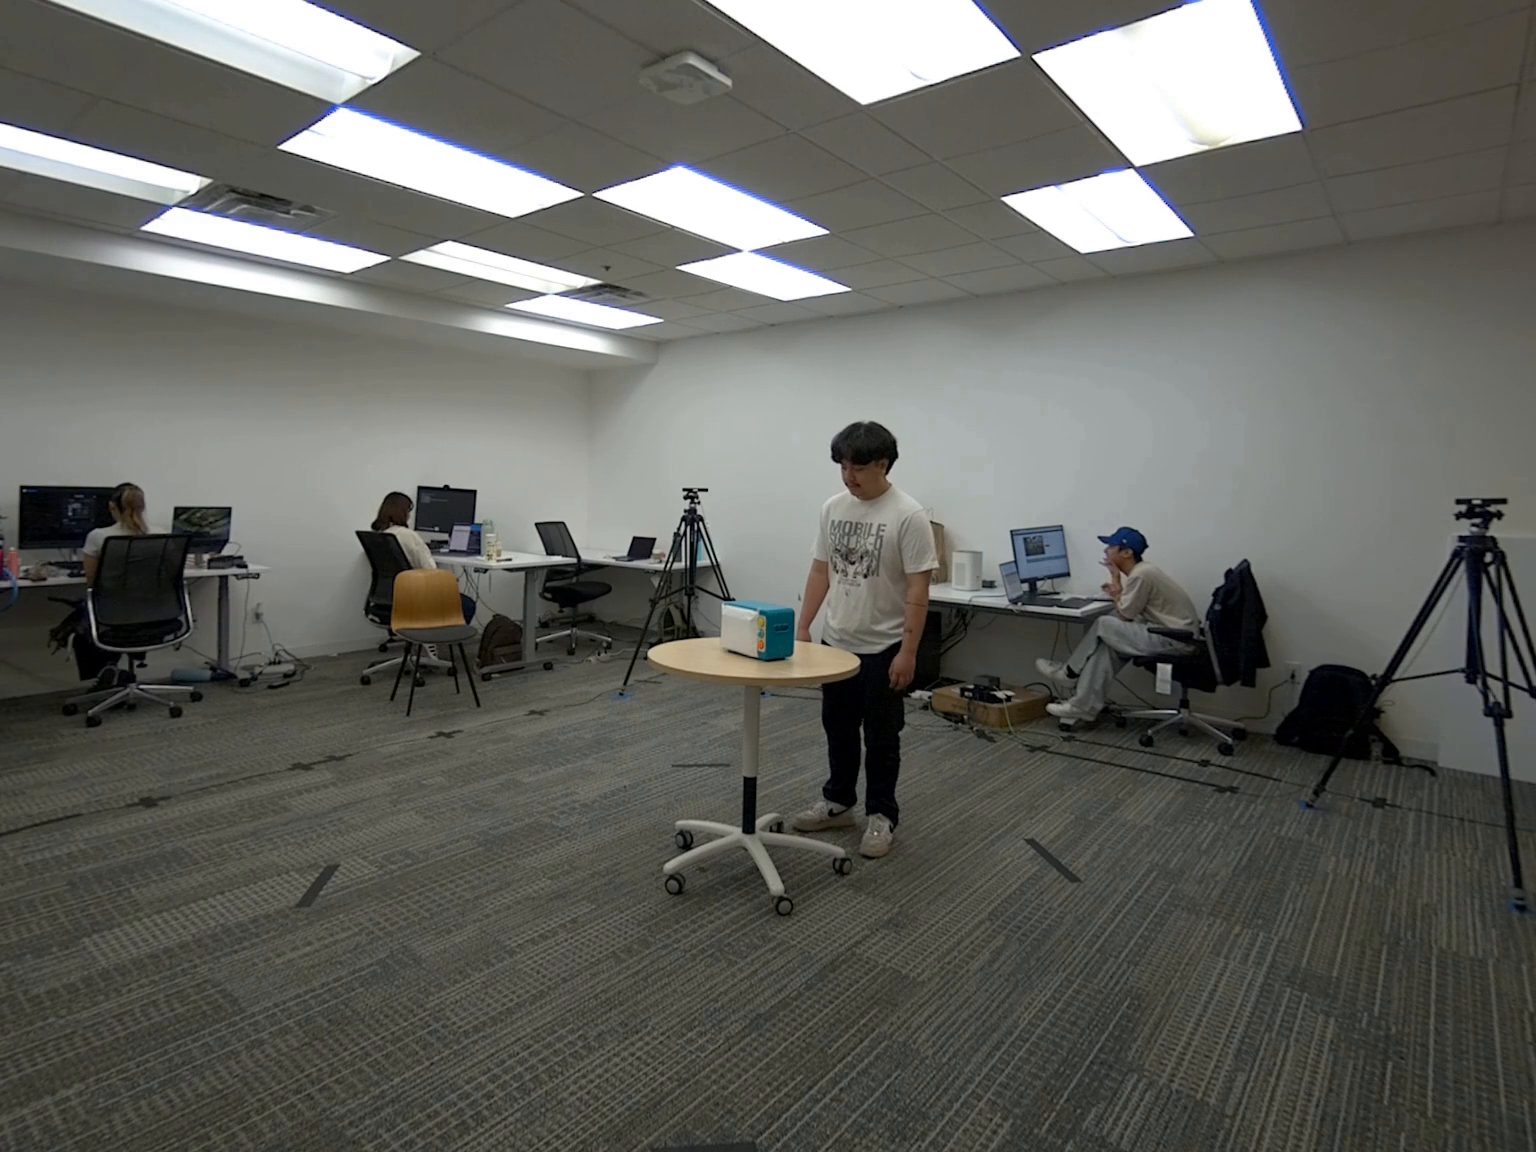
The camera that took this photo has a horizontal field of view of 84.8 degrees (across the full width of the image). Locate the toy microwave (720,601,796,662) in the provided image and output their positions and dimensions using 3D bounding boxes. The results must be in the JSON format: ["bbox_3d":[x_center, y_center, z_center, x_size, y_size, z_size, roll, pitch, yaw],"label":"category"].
[{"bbox_3d":[-0.054,0.190,3.081,0.148,0.183,0.296,-2,6,-38],"label":"toy microwave"}]
